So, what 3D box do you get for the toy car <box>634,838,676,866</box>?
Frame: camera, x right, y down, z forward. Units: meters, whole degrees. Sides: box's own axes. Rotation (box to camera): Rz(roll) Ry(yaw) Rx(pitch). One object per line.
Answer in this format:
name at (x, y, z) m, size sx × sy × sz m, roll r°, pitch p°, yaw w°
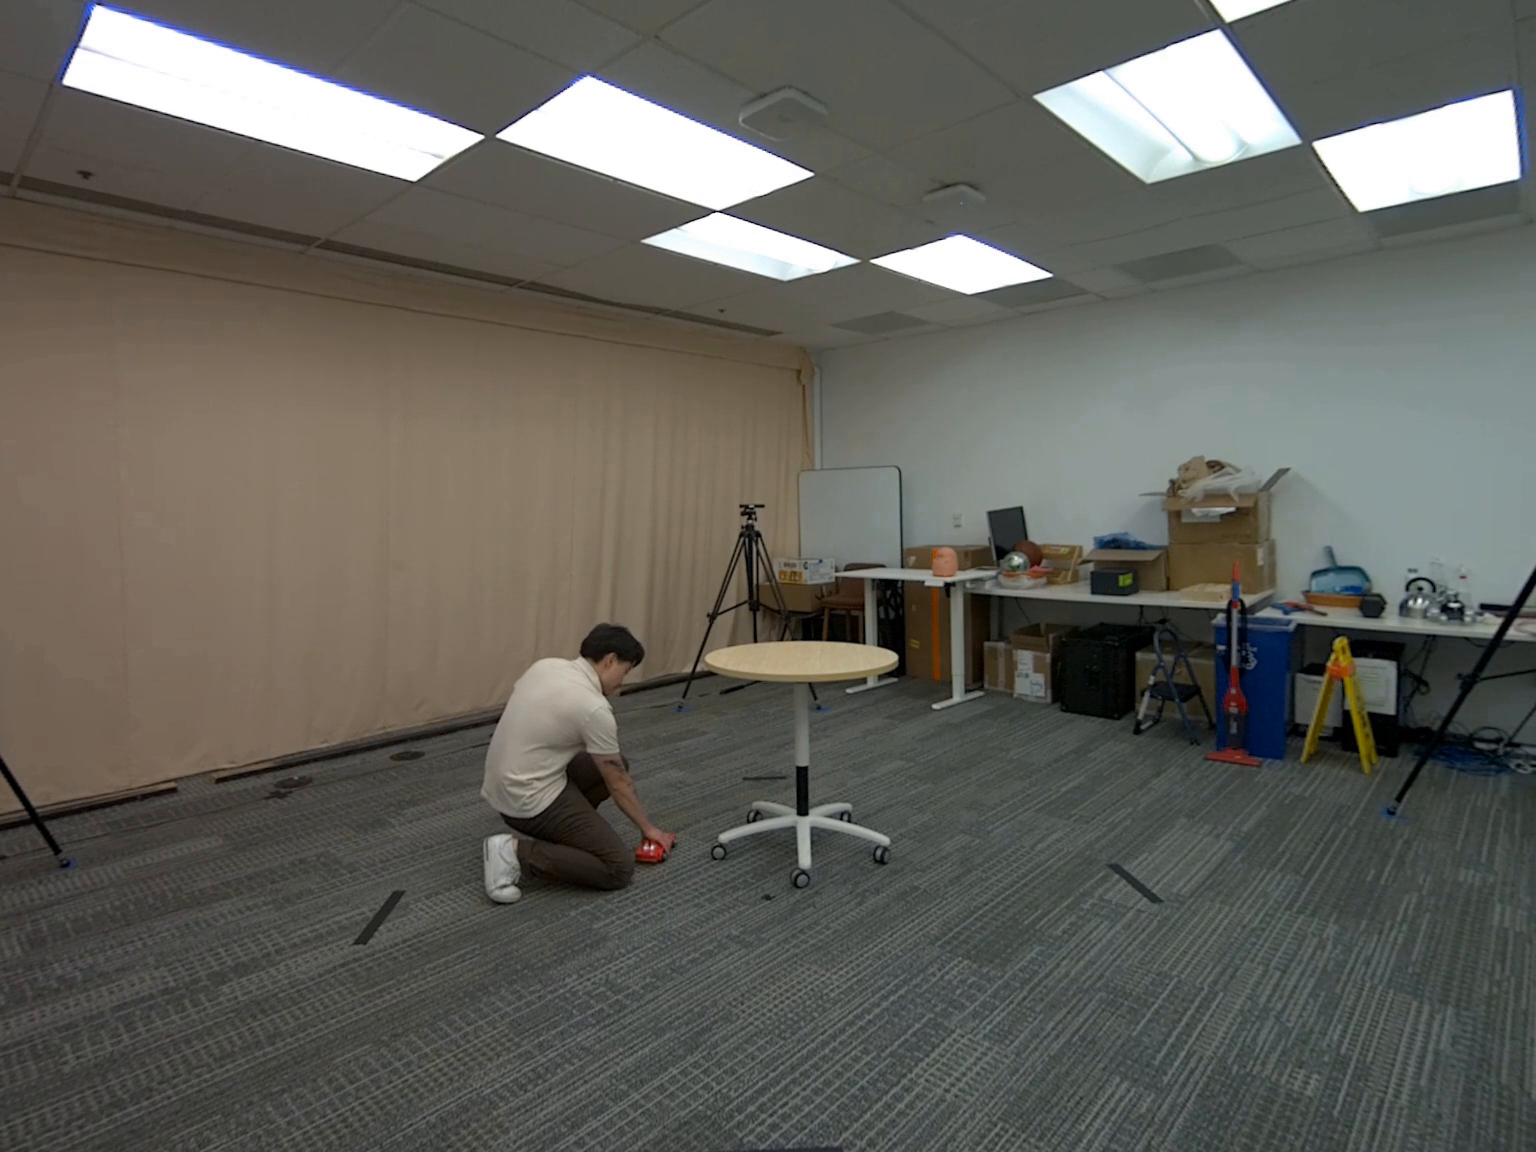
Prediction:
toy car at (-0.459, 1.096, 3.351) m, size 0.132 × 0.083 × 0.251 m, roll -1°, pitch -7°, yaw 8°
